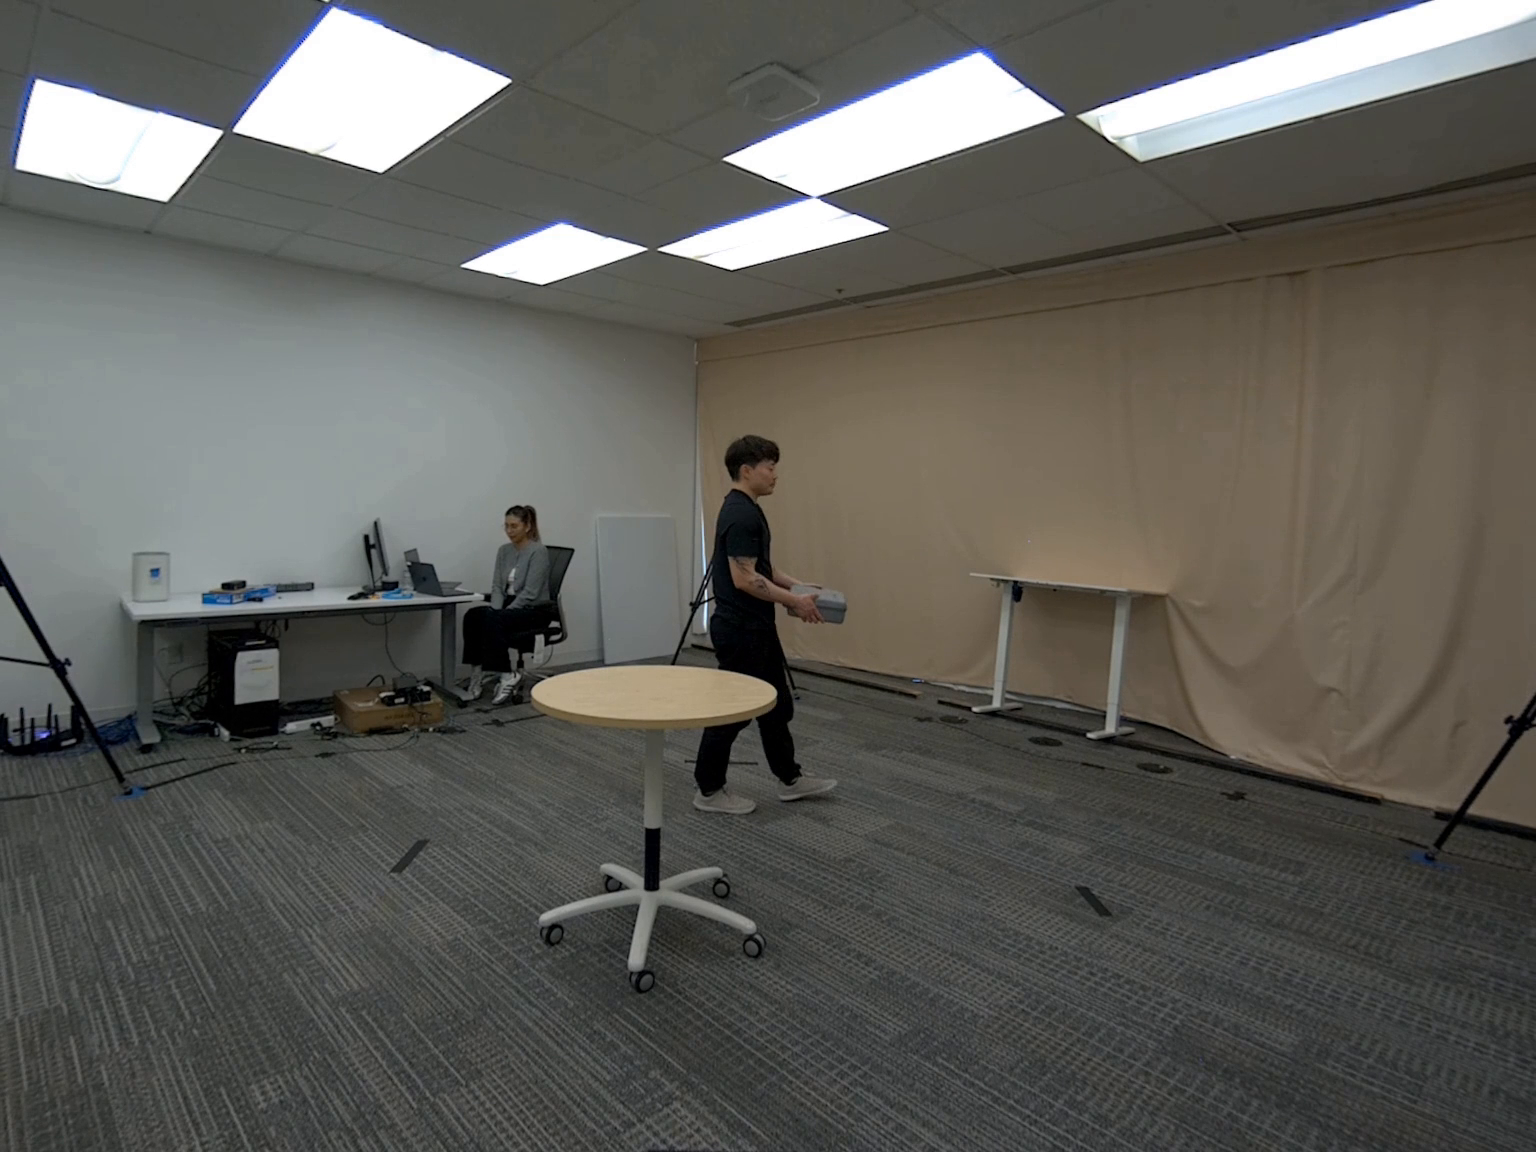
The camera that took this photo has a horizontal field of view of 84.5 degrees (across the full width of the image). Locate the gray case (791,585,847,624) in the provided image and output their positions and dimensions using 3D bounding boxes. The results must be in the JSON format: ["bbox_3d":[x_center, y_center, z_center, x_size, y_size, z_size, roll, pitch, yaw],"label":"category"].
[{"bbox_3d":[0.199,0.115,3.705,0.262,0.103,0.257,7,10,6],"label":"gray case"}]
